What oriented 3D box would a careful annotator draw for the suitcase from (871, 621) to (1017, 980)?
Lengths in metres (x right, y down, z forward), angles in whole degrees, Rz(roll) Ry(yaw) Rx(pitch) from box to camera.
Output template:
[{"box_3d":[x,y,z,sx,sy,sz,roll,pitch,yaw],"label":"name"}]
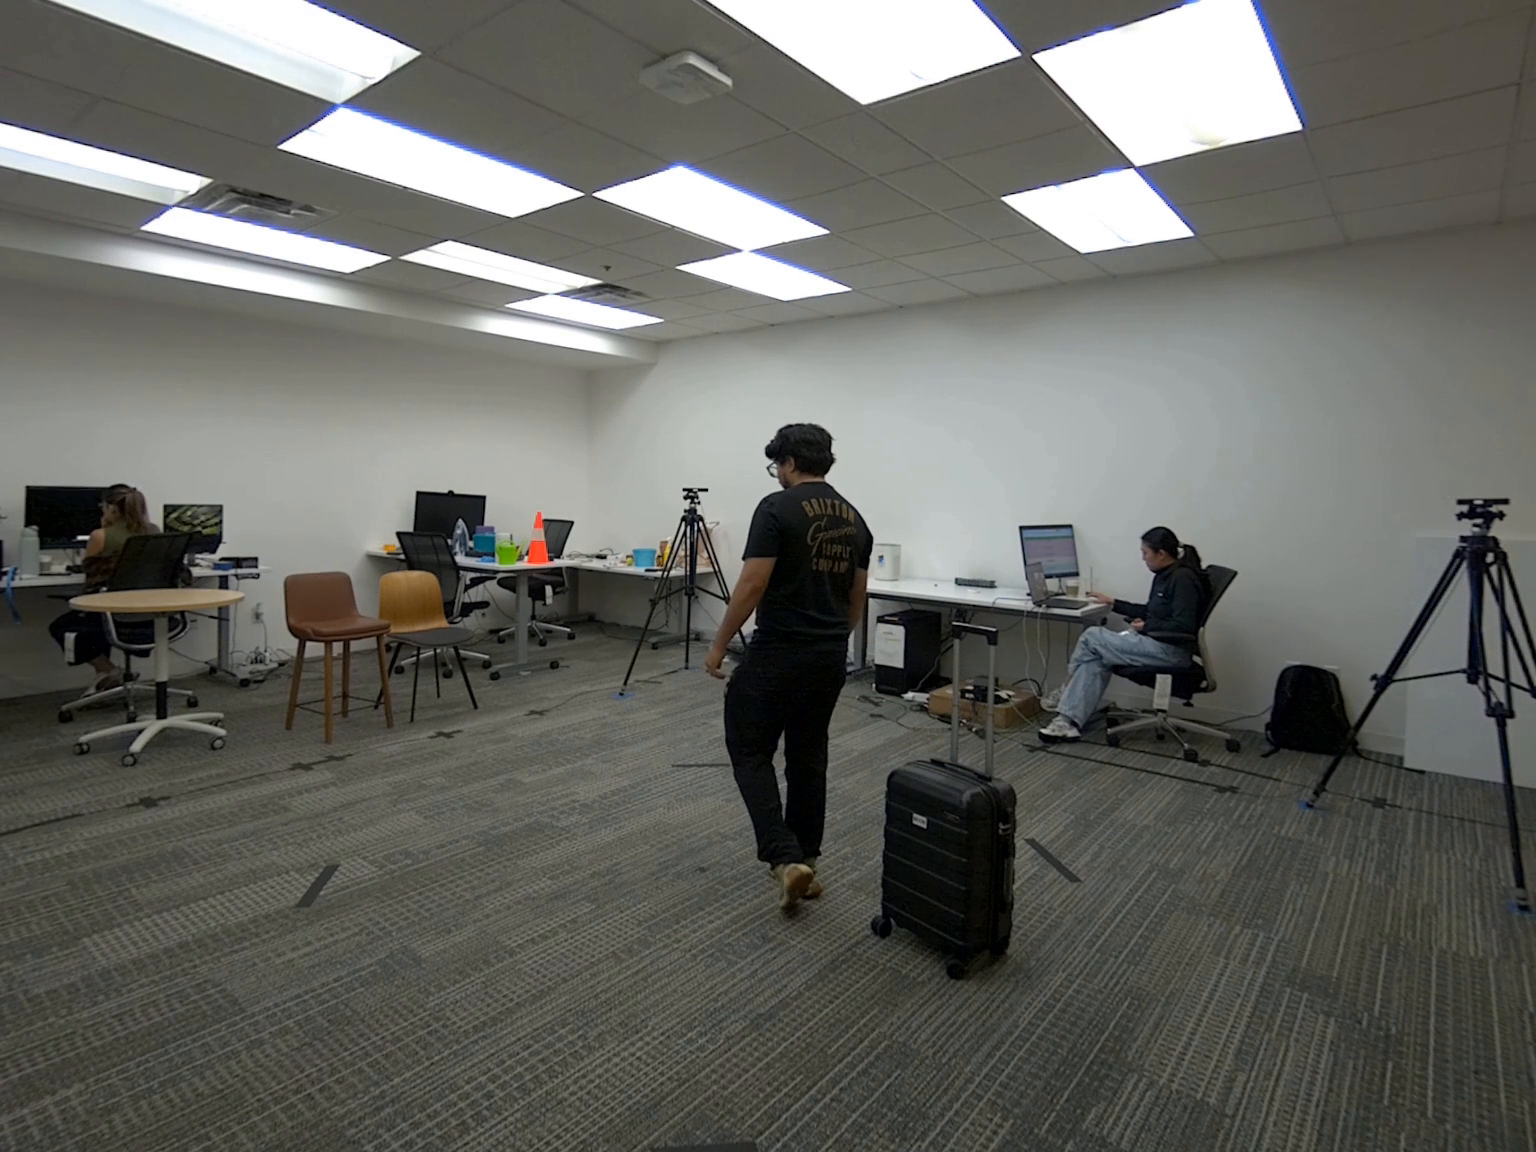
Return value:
[{"box_3d":[0.555,0.655,2.606,0.249,0.975,0.397,-2,4,-39],"label":"suitcase"}]
